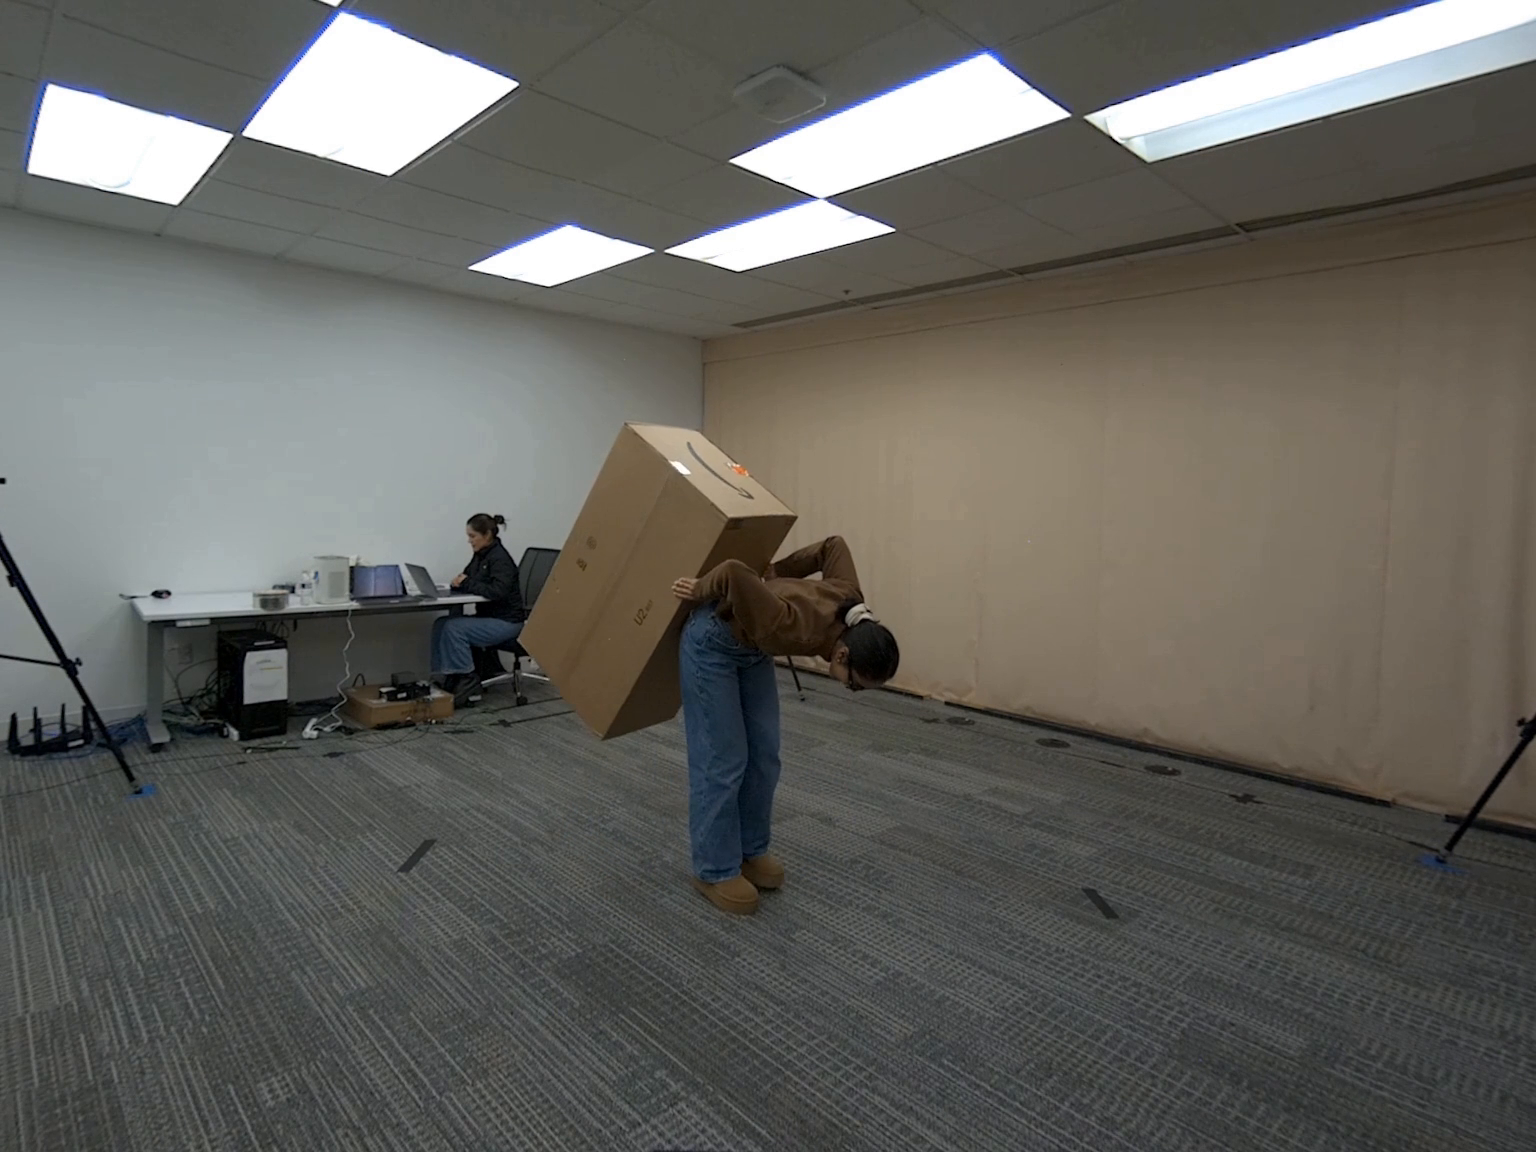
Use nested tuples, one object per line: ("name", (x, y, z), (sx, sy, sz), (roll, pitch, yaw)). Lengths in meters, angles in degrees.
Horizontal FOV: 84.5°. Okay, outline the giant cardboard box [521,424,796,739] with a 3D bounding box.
("giant cardboard box", (-0.444, 0.029, 3.198), (0.599, 1.021, 0.438), (42, 26, 25))
